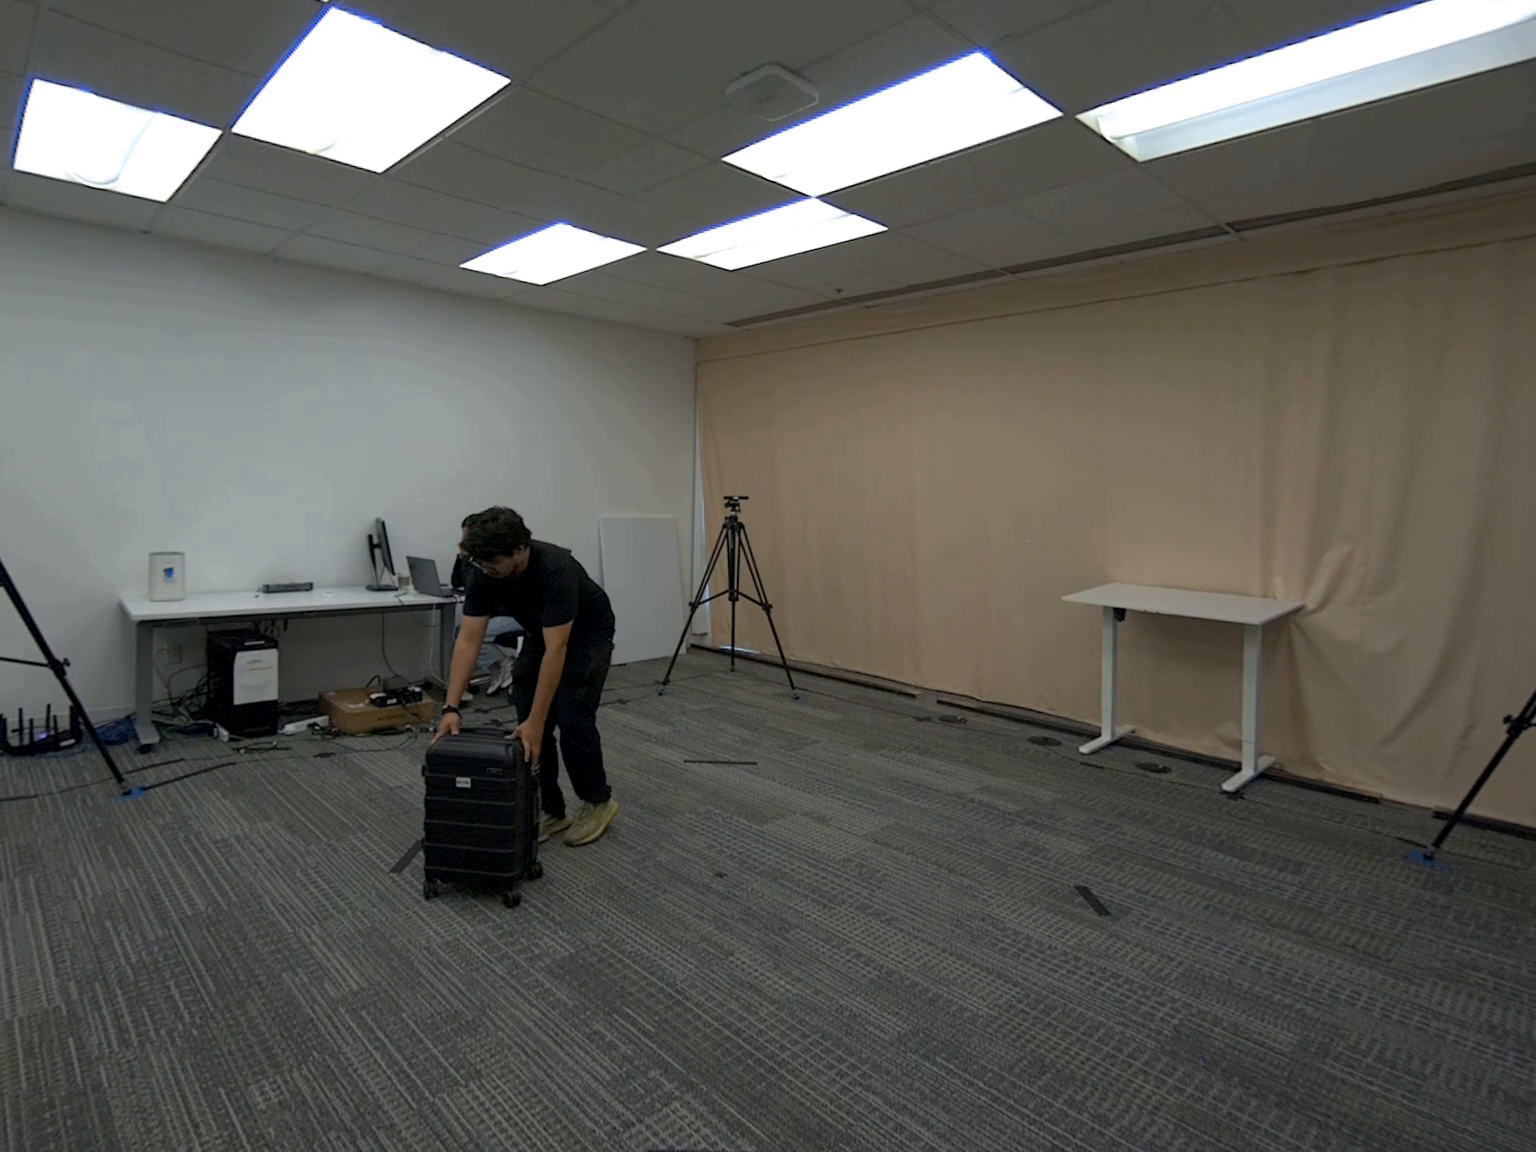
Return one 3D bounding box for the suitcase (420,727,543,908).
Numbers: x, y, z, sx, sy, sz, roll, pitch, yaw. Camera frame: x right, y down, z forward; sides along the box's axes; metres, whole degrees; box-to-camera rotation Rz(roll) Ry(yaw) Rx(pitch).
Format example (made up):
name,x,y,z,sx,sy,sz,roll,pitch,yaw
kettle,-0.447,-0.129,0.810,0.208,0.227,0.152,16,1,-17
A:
name,x,y,z,sx,sy,sz,roll,pitch,yaw
suitcase,-1.020,0.828,2.972,0.378,0.548,0.247,1,2,8
